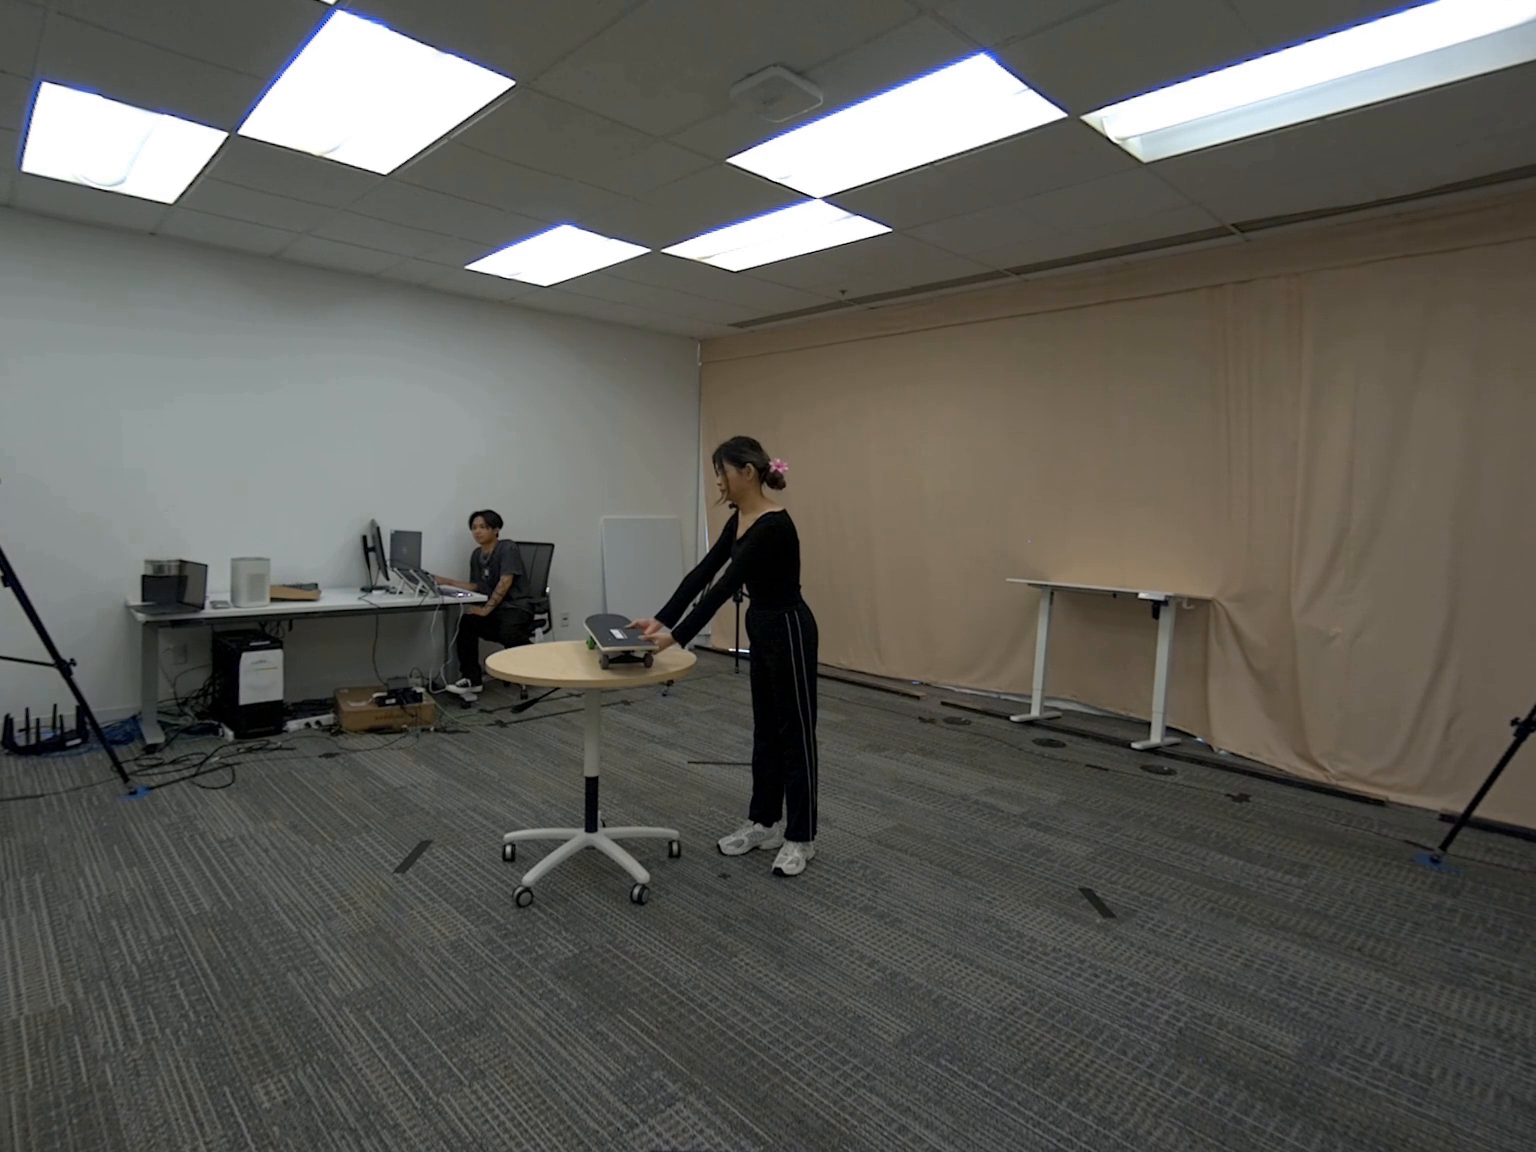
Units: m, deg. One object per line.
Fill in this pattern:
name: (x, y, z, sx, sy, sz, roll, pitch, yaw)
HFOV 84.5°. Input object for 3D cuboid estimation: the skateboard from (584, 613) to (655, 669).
skateboard: (-0.561, 0.251, 3.121, 0.191, 0.110, 0.798, -2, 5, -18)
